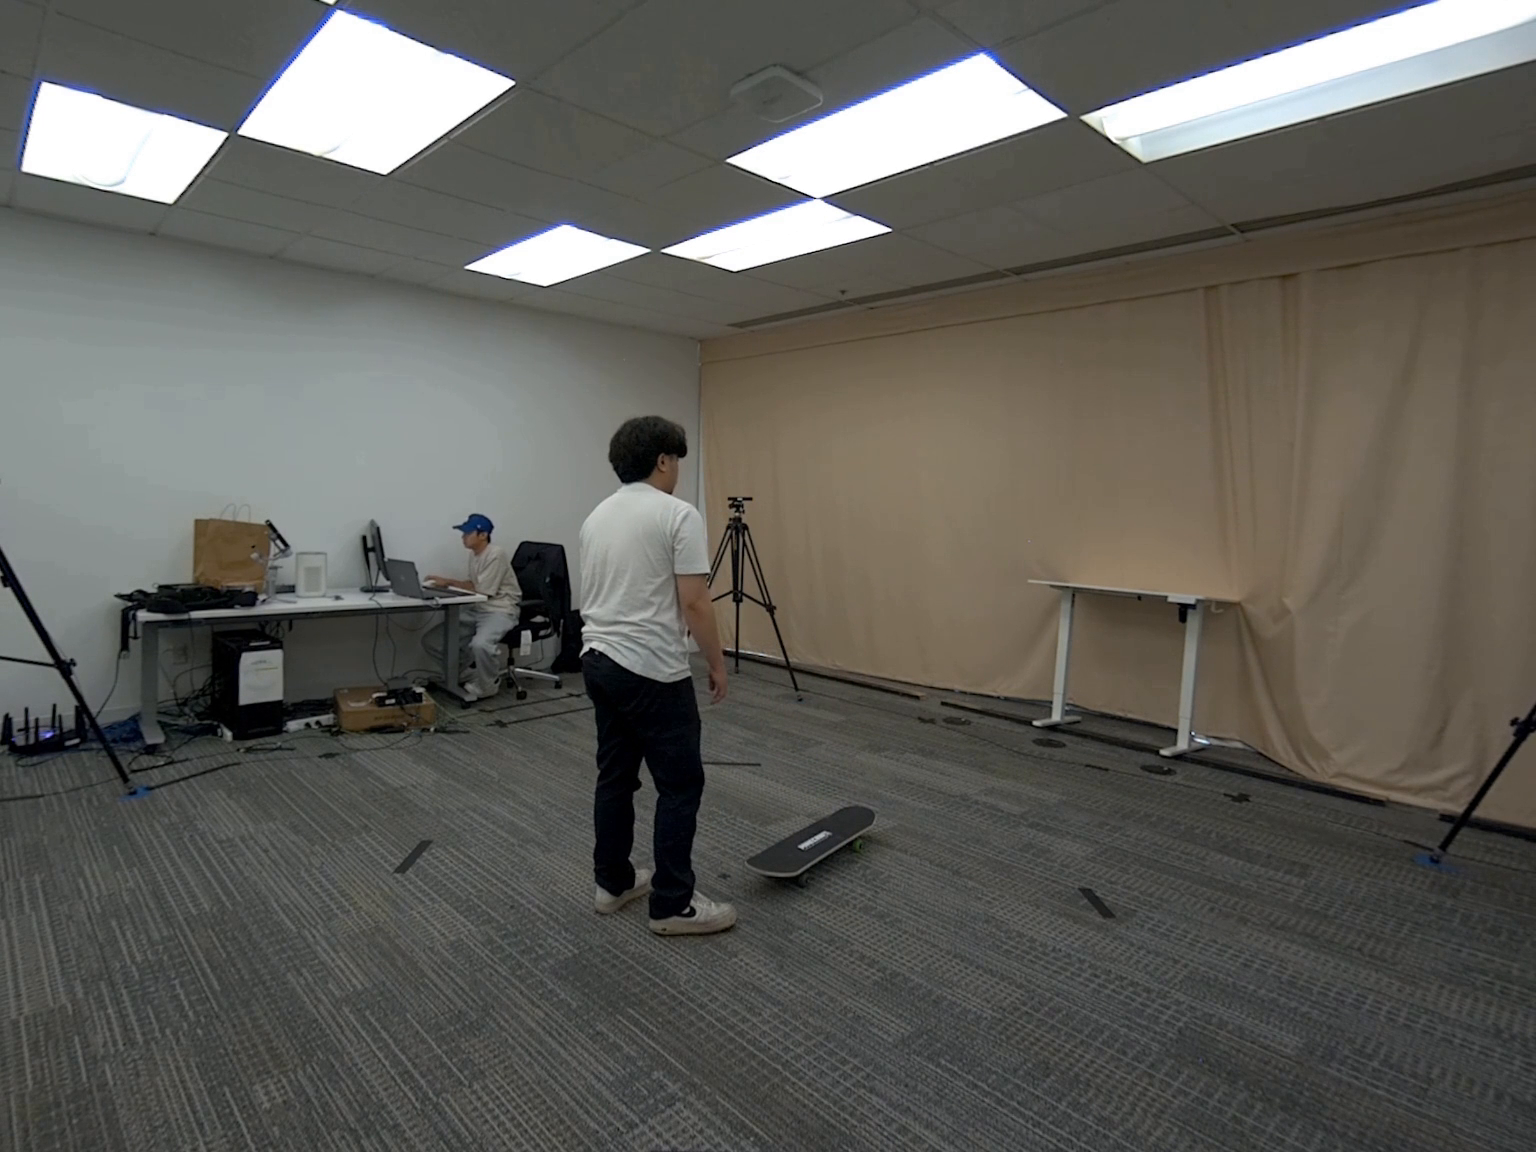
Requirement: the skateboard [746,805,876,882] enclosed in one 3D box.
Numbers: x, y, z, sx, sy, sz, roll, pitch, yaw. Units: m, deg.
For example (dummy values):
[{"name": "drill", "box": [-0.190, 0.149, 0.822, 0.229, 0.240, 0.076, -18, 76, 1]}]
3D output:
[{"name": "skateboard", "box": [0.177, 1.046, 3.236, 0.198, 0.110, 0.769, 4, 6, 34]}]
